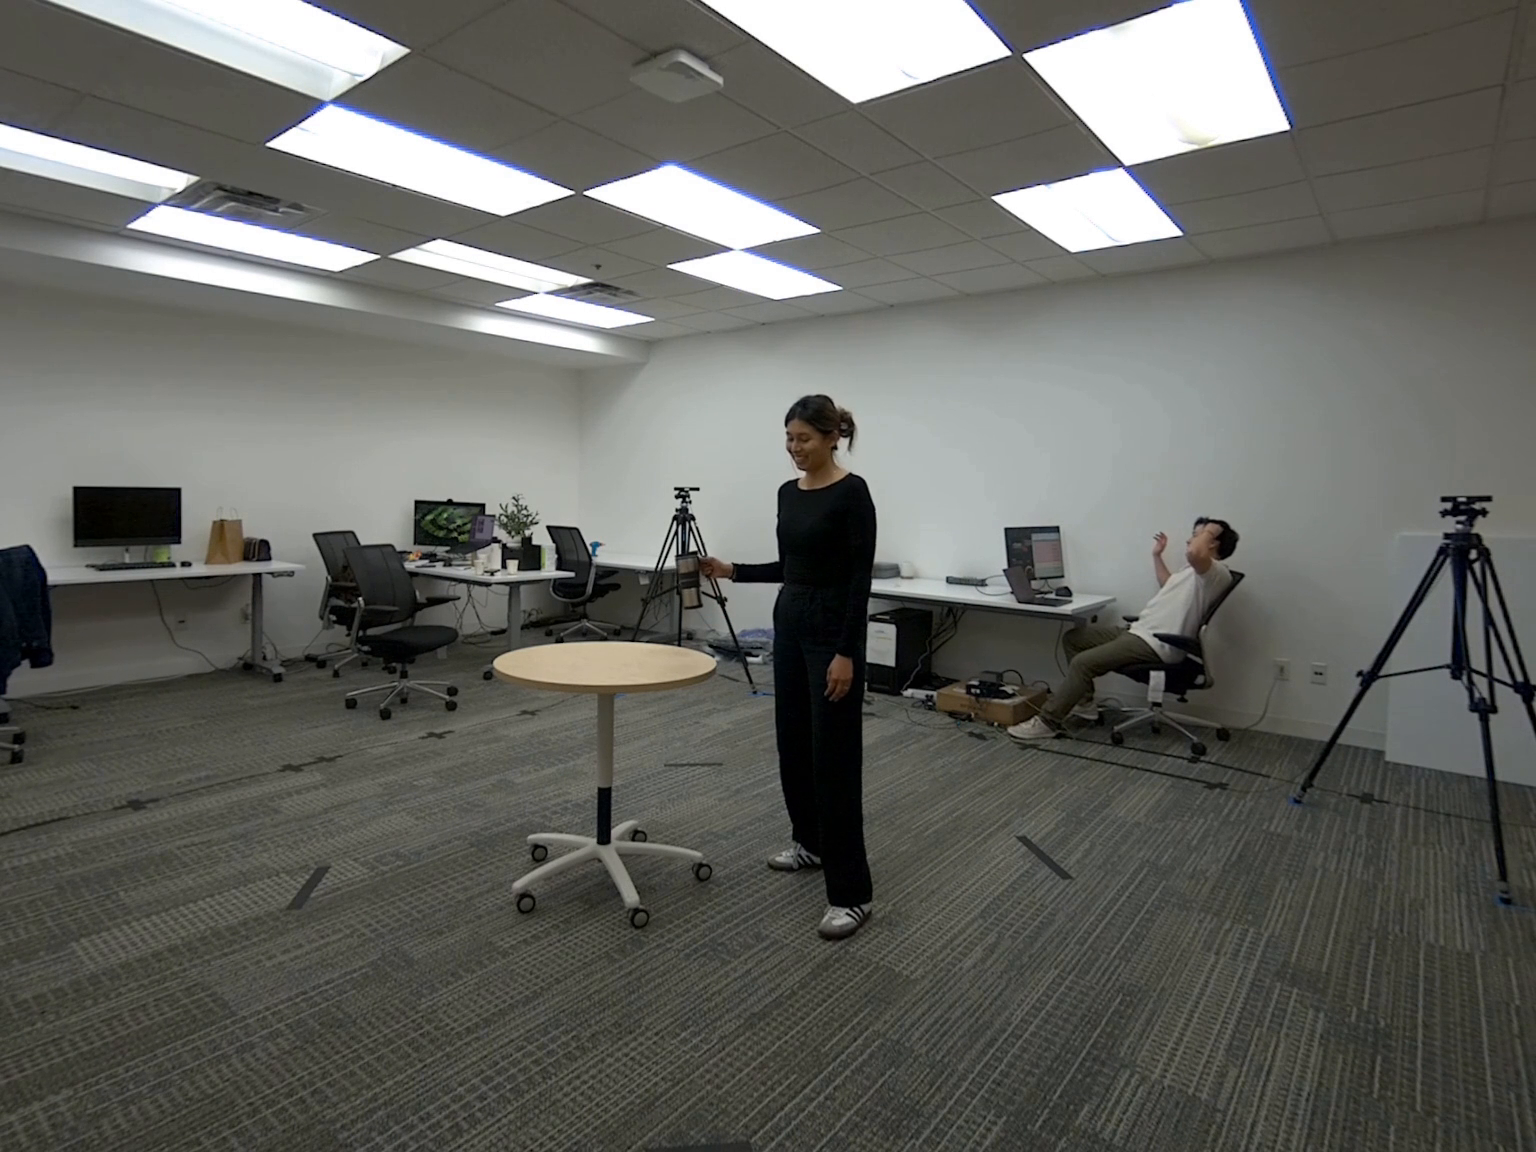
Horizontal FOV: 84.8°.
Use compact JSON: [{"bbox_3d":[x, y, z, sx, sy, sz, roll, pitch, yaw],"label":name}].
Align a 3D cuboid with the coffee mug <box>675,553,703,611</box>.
[{"bbox_3d":[-0.273,0.018,3.039,0.125,0.204,0.085,-10,-4,35],"label":"coffee mug"}]
